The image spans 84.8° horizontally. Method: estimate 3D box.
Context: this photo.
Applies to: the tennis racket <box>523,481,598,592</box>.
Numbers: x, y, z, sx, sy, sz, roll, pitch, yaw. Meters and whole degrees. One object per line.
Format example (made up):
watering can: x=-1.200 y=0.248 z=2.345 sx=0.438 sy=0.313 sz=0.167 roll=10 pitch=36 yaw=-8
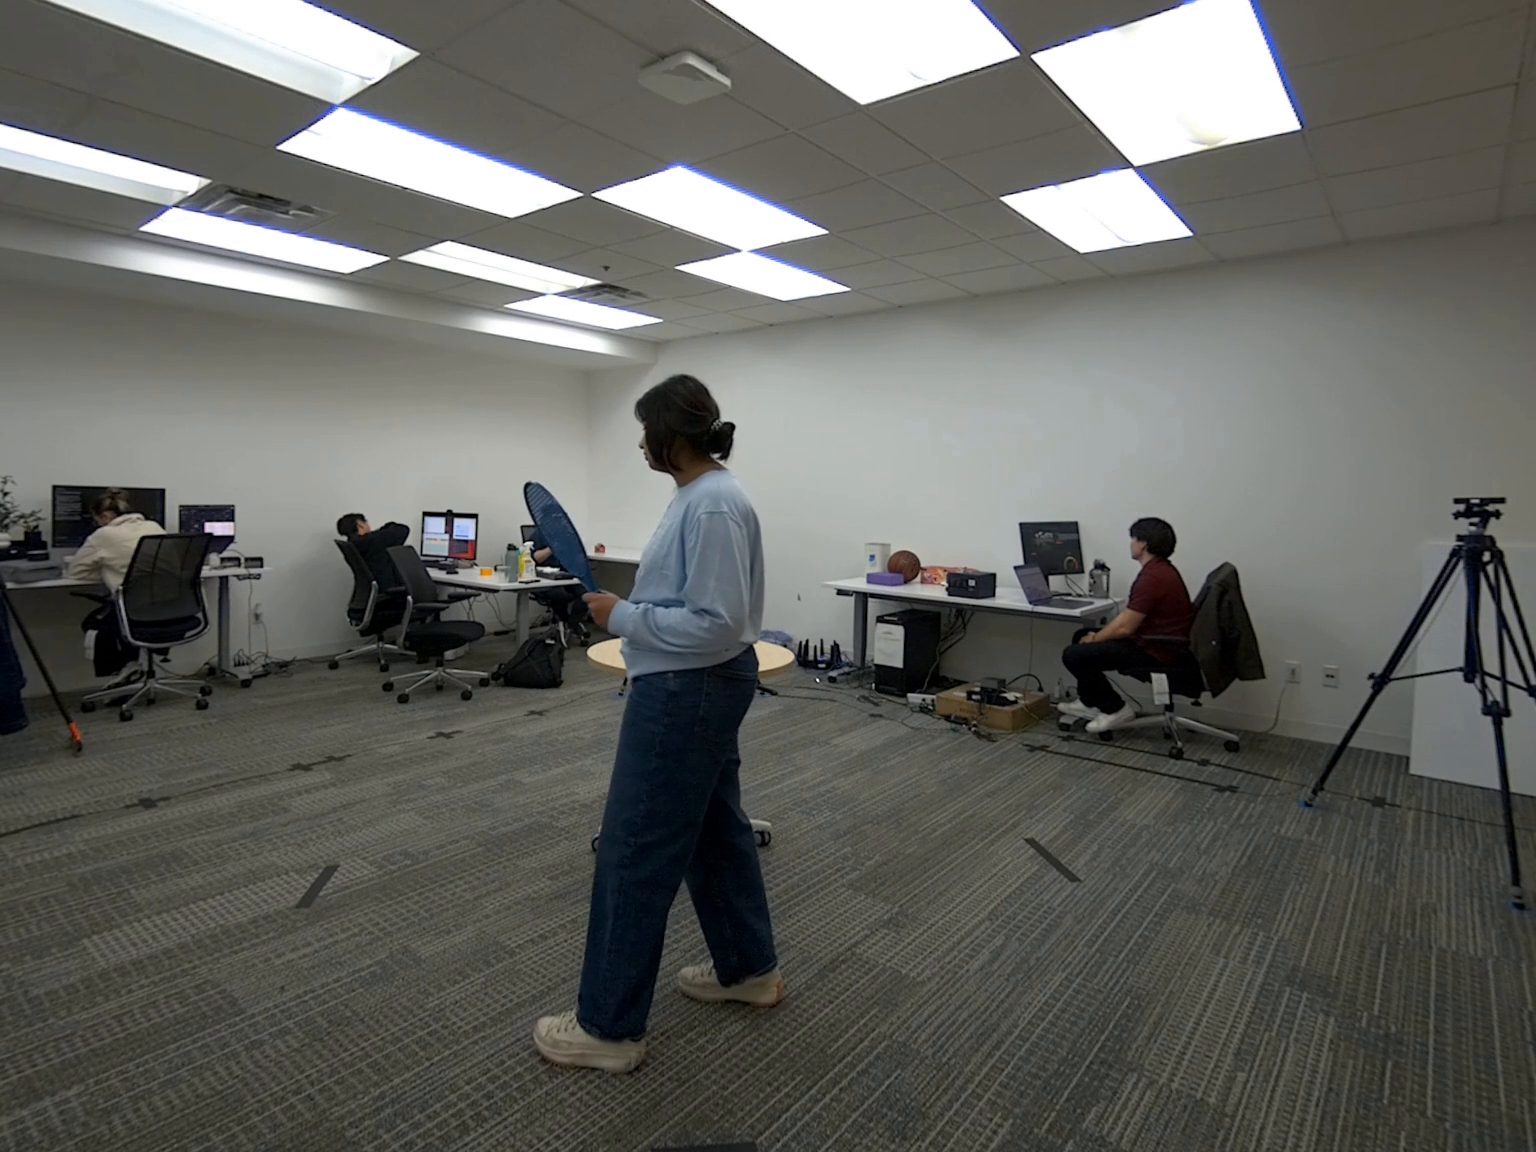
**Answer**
tennis racket: x=-0.478 y=-0.052 z=2.077 sx=0.031 sy=0.434 sz=0.215 roll=-35 pitch=-2 yaw=-31
